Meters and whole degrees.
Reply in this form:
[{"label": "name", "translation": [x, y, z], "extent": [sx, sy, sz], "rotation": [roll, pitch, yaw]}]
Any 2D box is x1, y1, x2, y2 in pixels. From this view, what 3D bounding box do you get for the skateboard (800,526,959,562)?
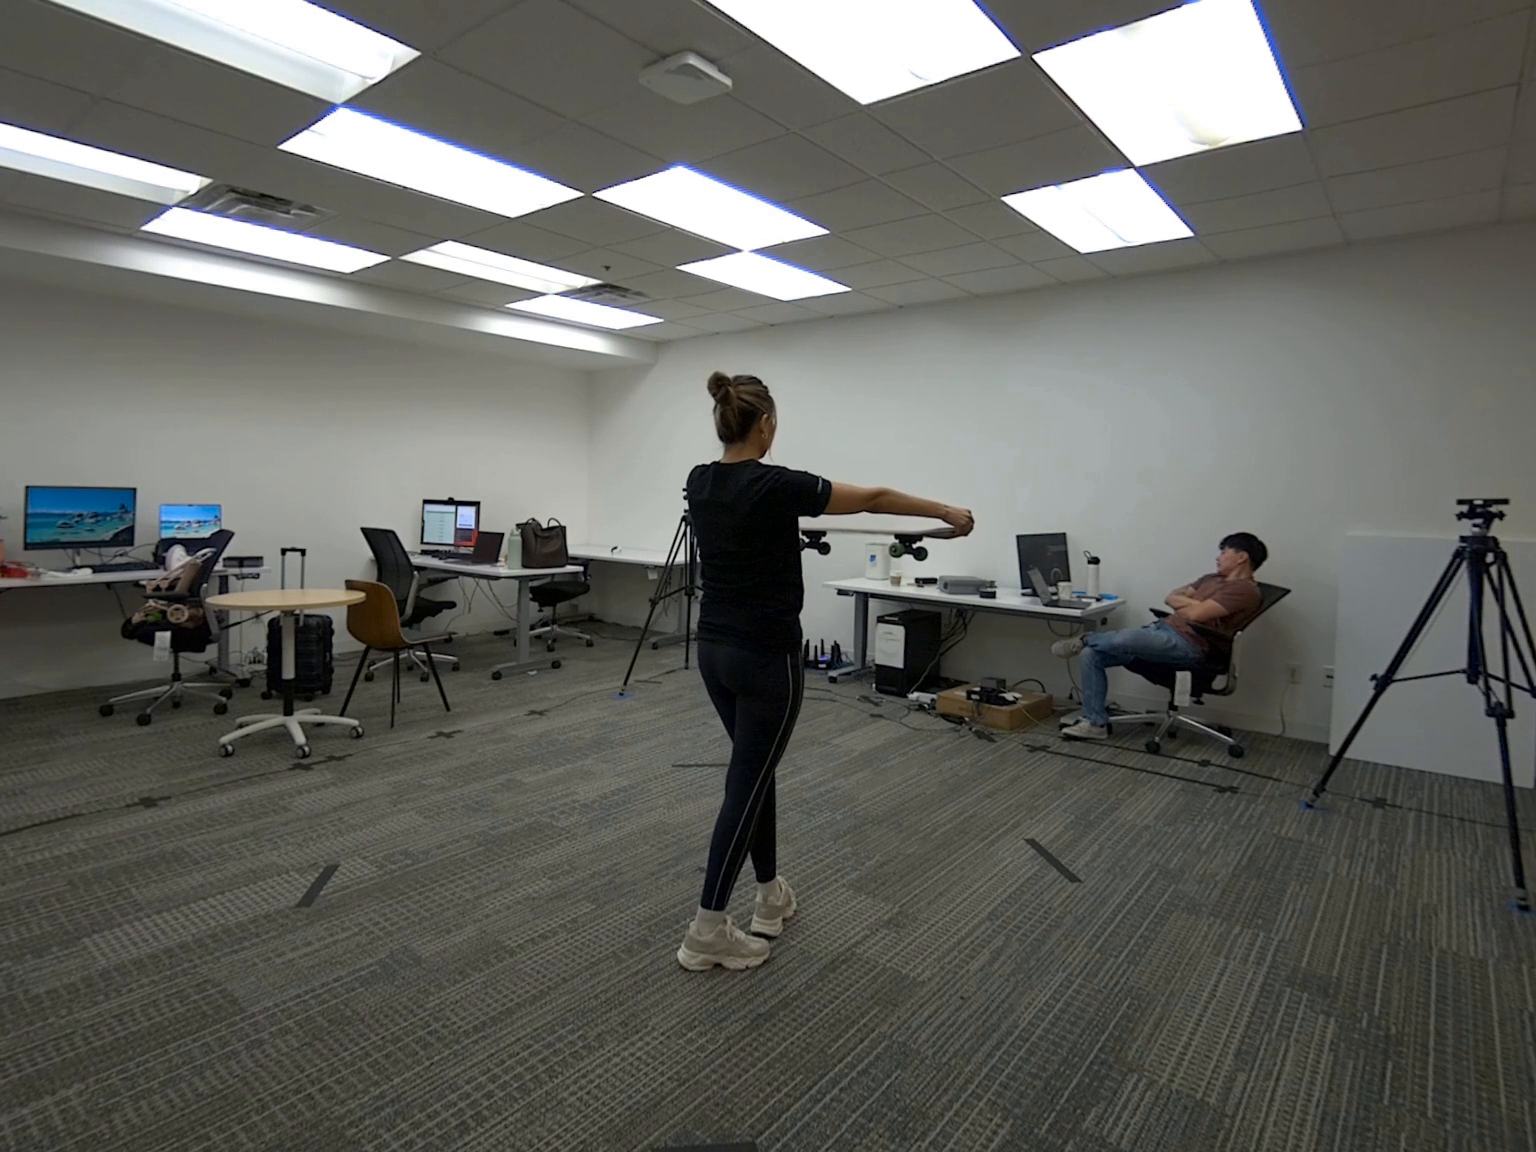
[{"label": "skateboard", "translation": [0.303, -0.124, 2.942], "extent": [0.812, 0.110, 0.187], "rotation": [6, 0, 42]}]
